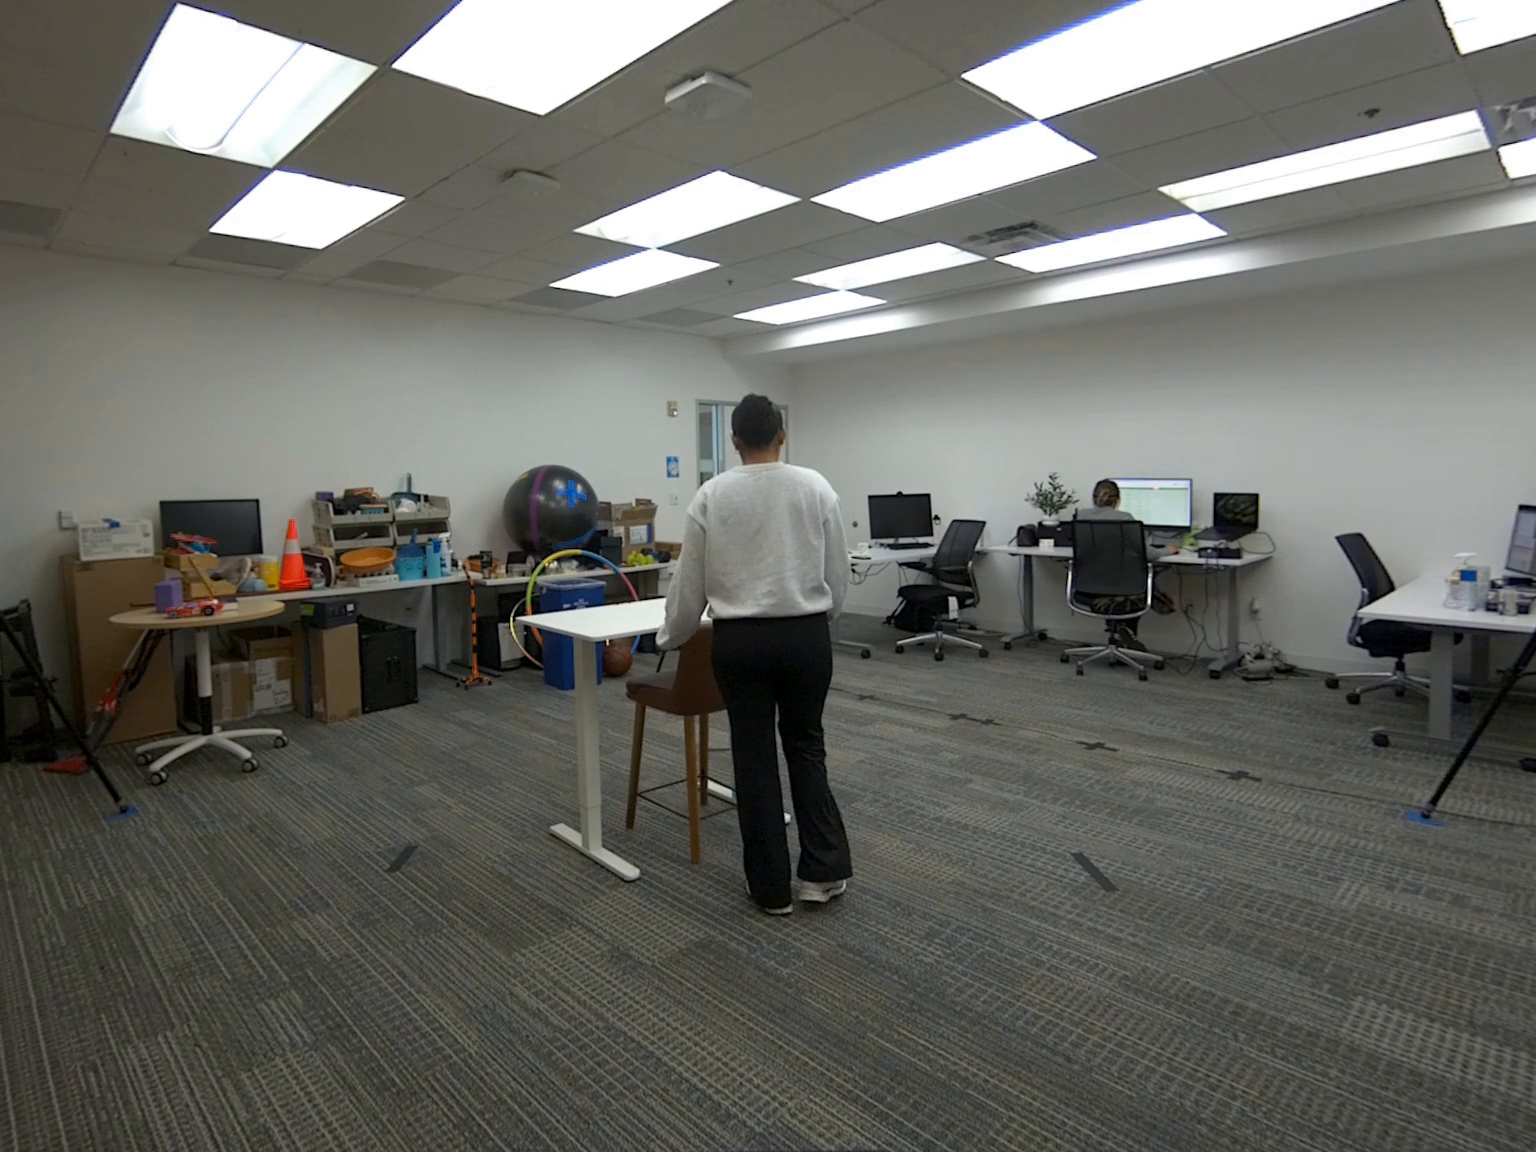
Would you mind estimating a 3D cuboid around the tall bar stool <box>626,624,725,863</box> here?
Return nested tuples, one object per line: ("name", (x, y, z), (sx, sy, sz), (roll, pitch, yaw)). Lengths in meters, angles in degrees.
("tall bar stool", (-0.277, 0.586, 3.364), (0.444, 0.886, 0.482), (-3, 7, -40))
